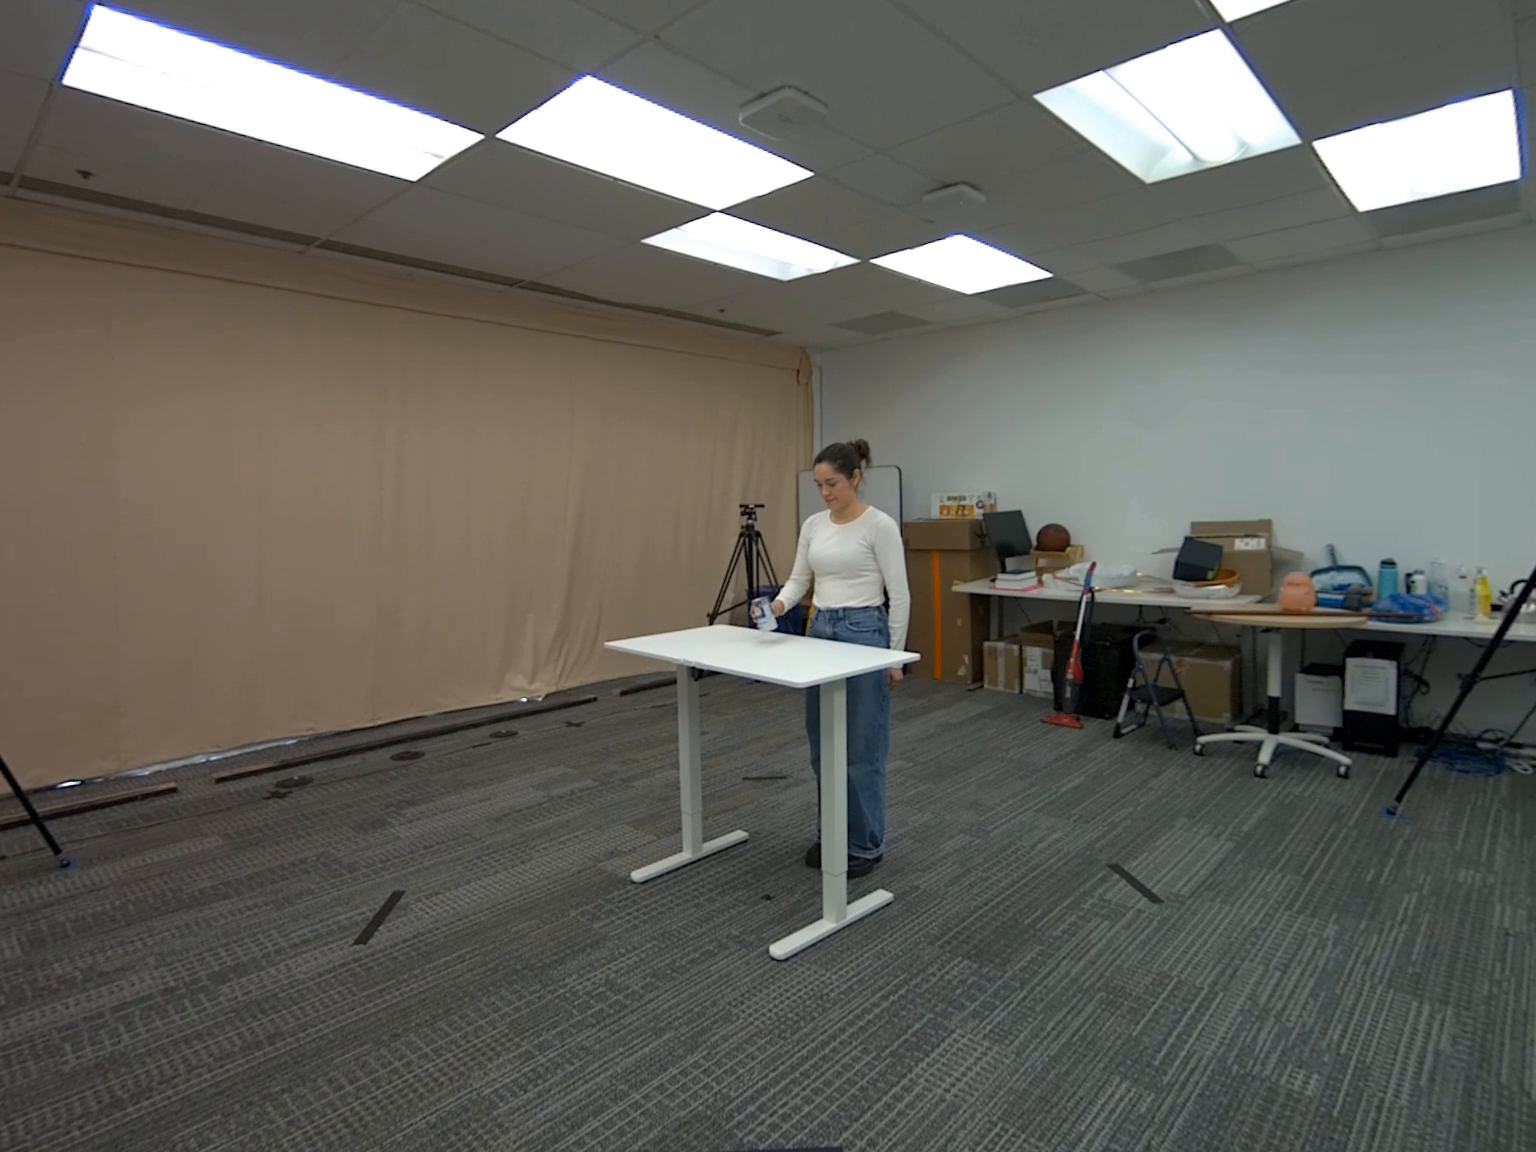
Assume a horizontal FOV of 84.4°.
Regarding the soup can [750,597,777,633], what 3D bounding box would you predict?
[{"bbox_3d":[-0.003,0.133,3.083,0.067,0.121,0.067,-12,5,-1],"label":"soup can"}]
